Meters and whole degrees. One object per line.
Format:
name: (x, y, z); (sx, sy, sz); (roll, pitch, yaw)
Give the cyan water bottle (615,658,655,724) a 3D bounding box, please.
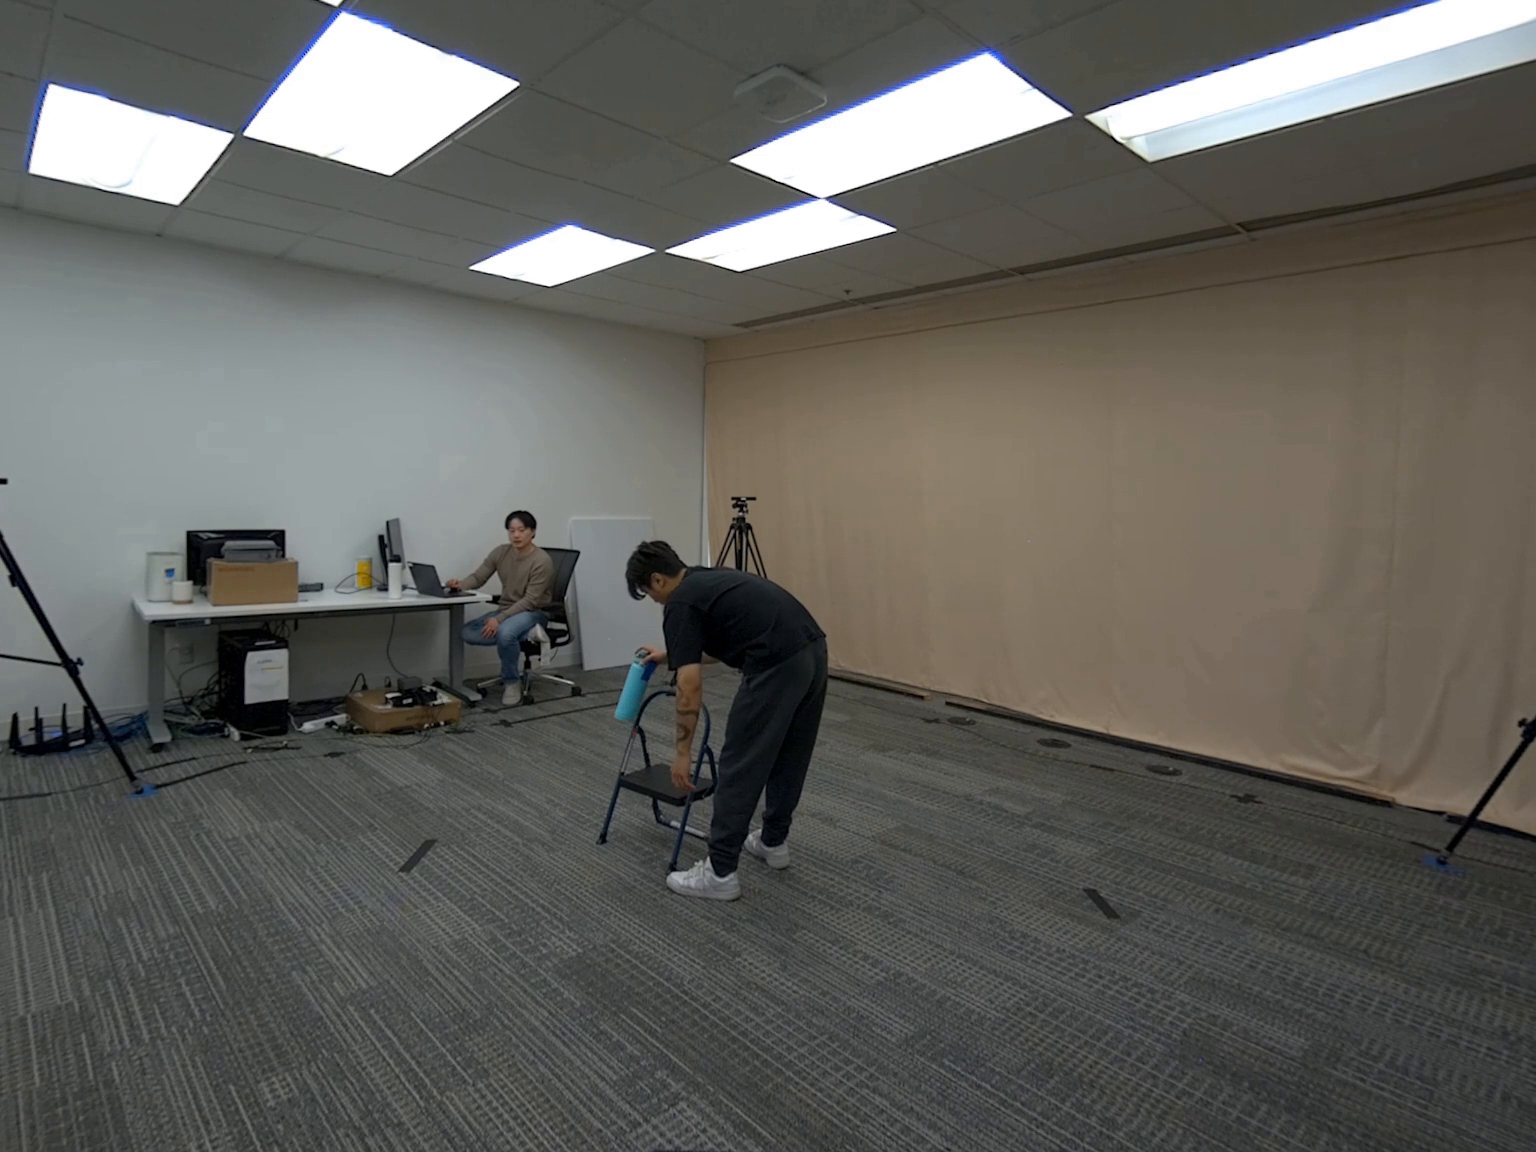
cyan water bottle: (-0.535, 0.448, 3.392); (0.092, 0.284, 0.092); (19, -5, 0)
